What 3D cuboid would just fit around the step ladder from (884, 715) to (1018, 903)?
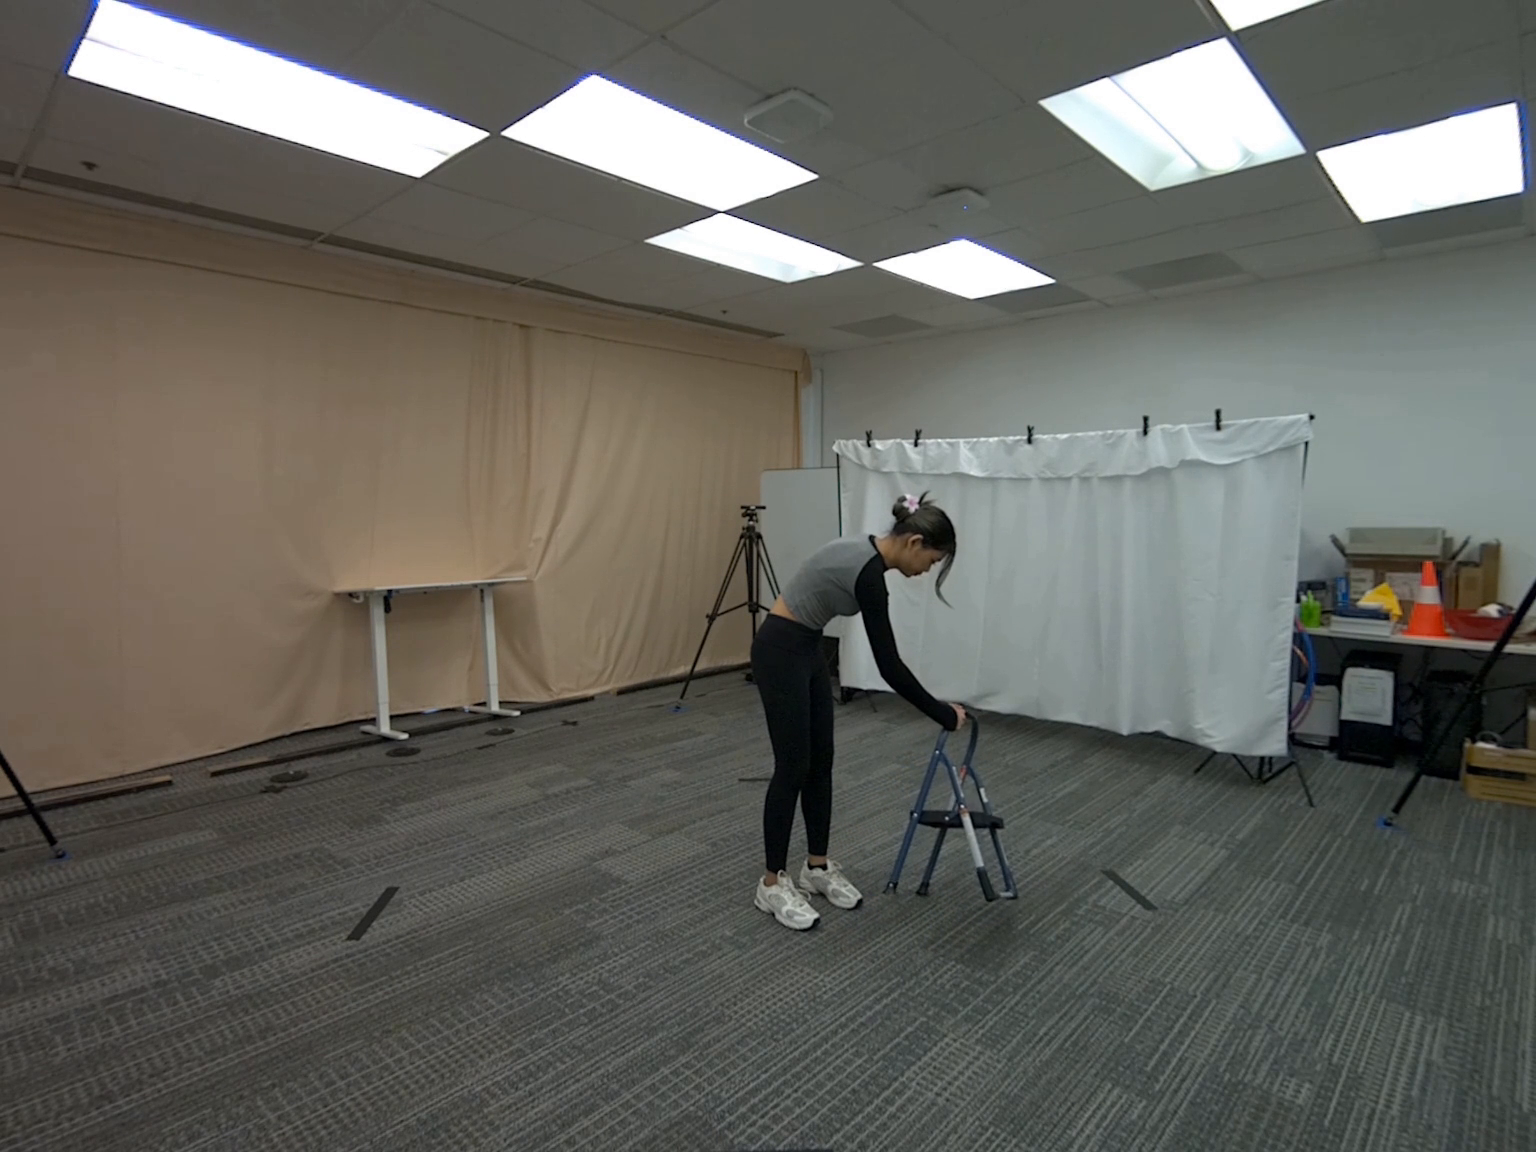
[{"bbox_3d":[0.632,0.778,2.868,0.358,0.612,0.416,-6,-21,26],"label":"step ladder"}]
